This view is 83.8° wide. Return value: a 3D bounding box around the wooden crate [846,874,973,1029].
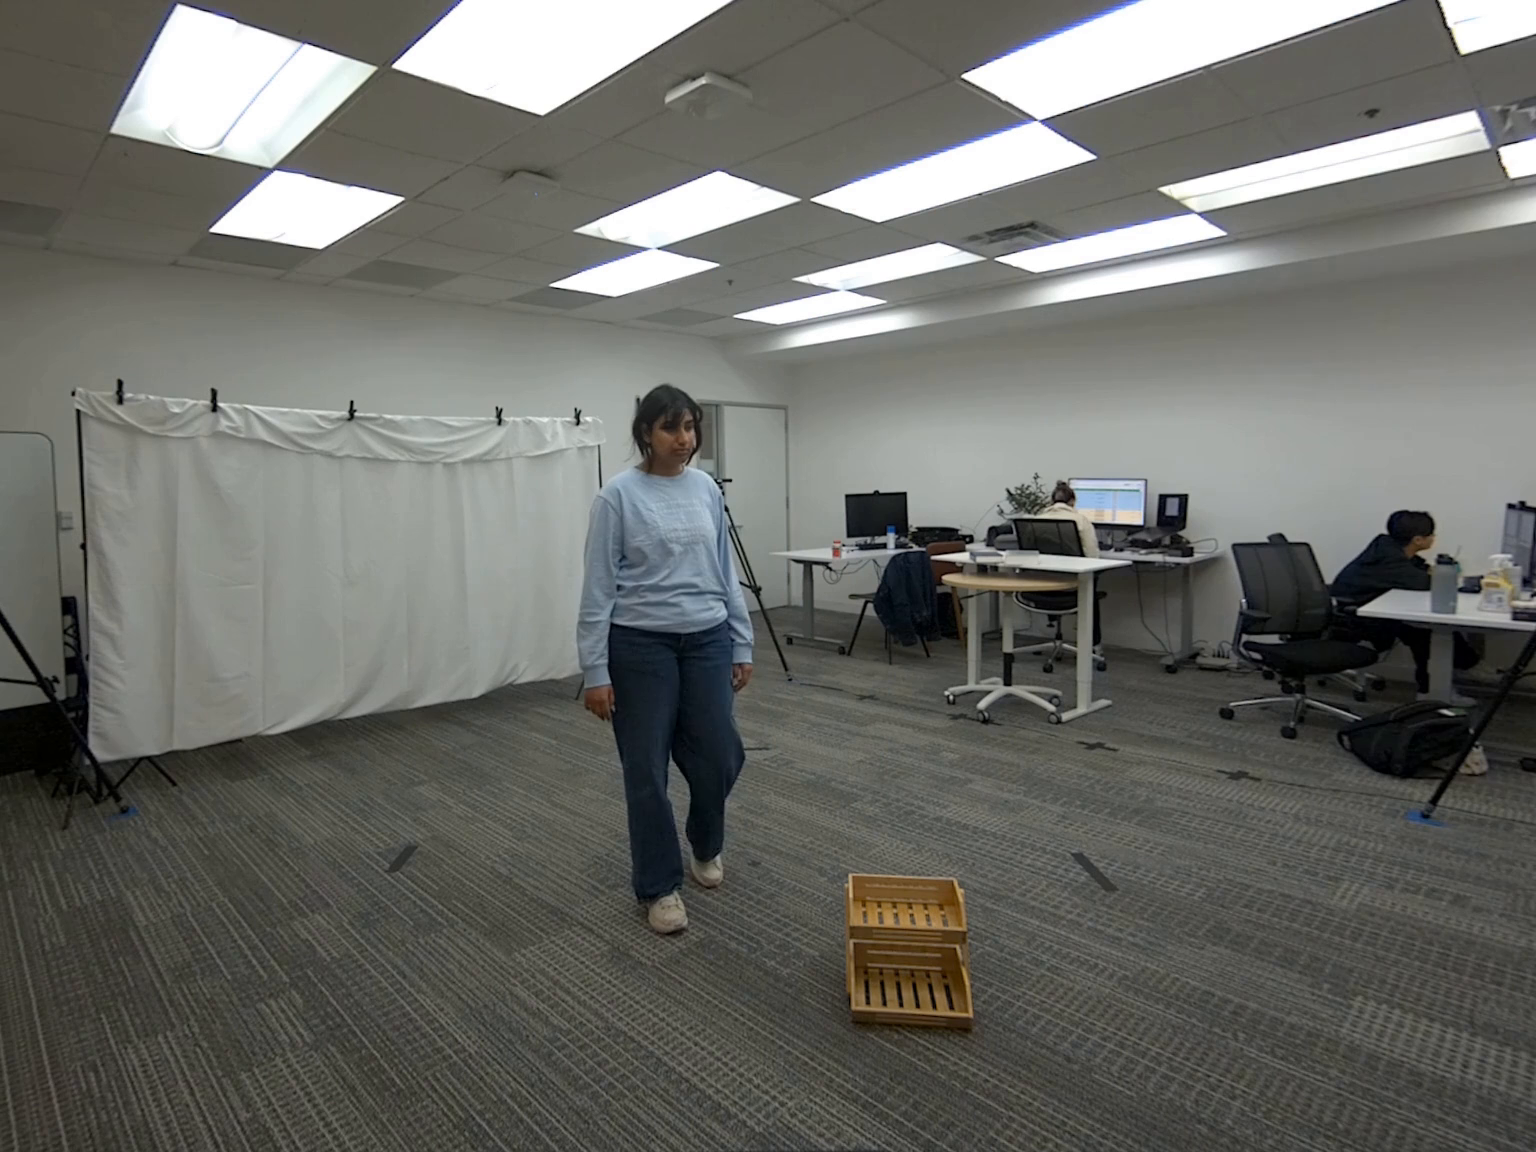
[{"bbox_3d":[0.384,1.002,2.285,0.327,0.272,0.301,0,4,6],"label":"wooden crate"}]
